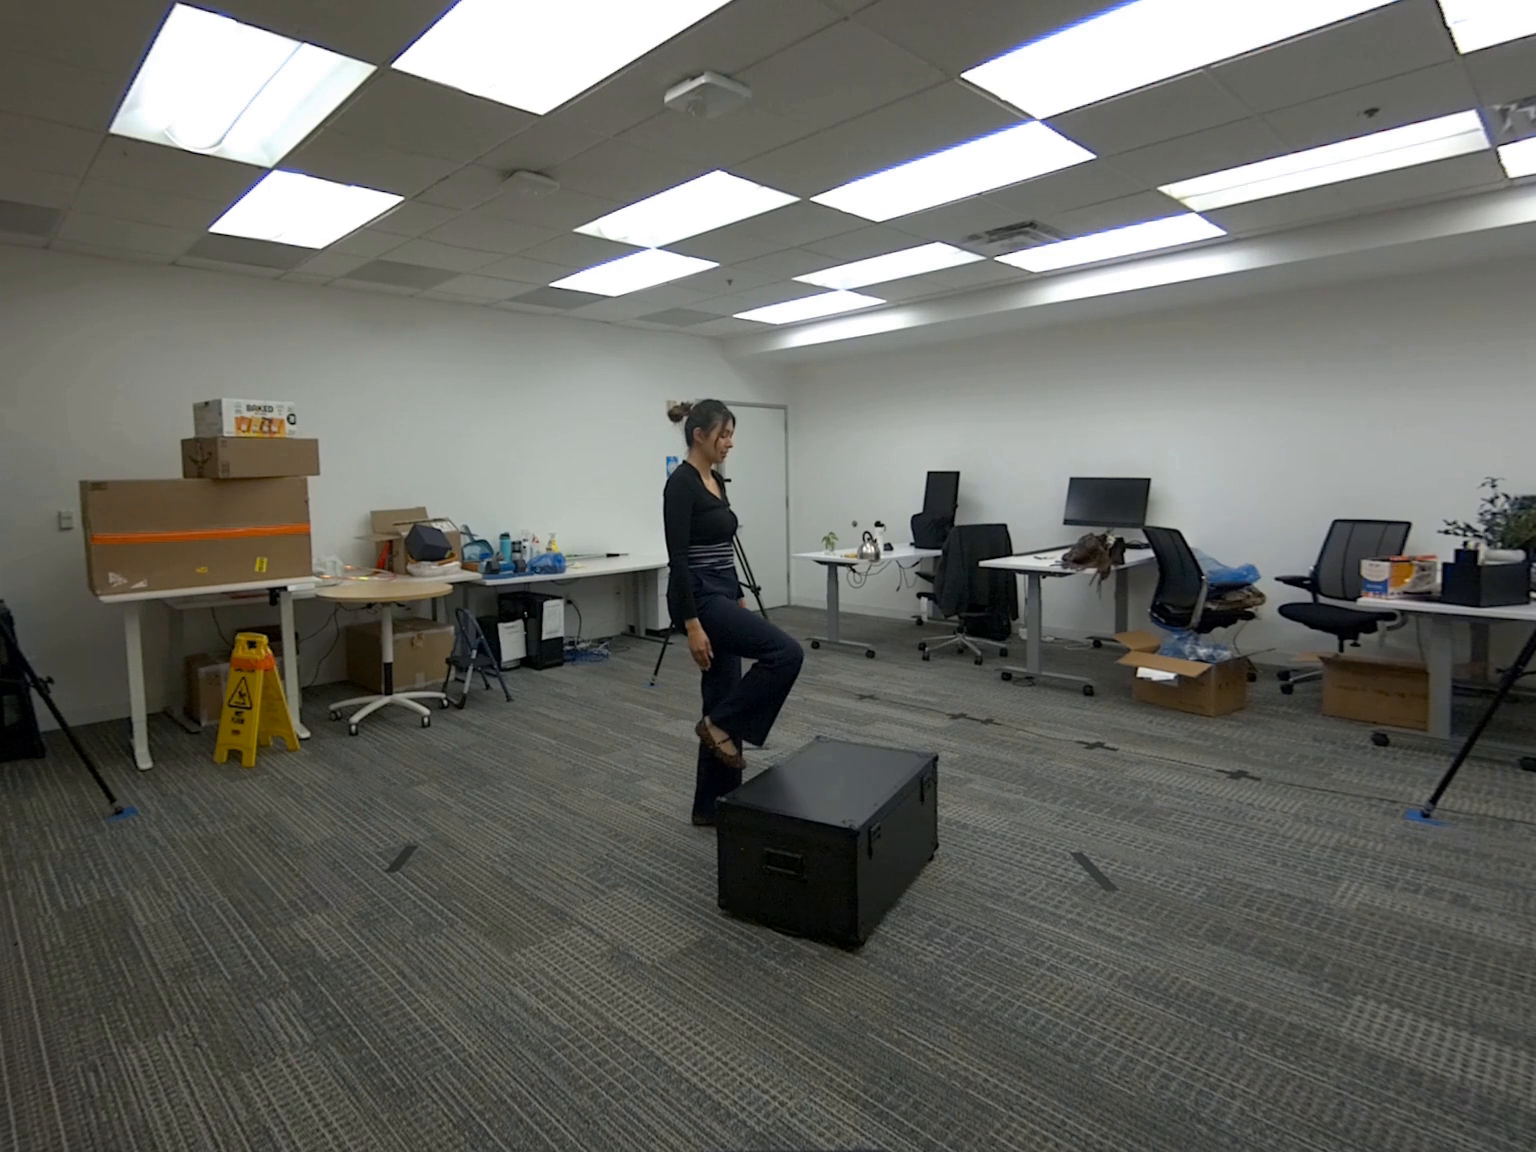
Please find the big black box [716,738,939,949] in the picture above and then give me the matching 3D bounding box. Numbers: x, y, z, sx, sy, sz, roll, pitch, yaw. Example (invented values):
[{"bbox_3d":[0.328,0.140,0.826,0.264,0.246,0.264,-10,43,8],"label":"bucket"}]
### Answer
[{"bbox_3d":[0.251,0.865,2.957,0.534,0.394,0.843,1,6,29],"label":"big black box"}]
